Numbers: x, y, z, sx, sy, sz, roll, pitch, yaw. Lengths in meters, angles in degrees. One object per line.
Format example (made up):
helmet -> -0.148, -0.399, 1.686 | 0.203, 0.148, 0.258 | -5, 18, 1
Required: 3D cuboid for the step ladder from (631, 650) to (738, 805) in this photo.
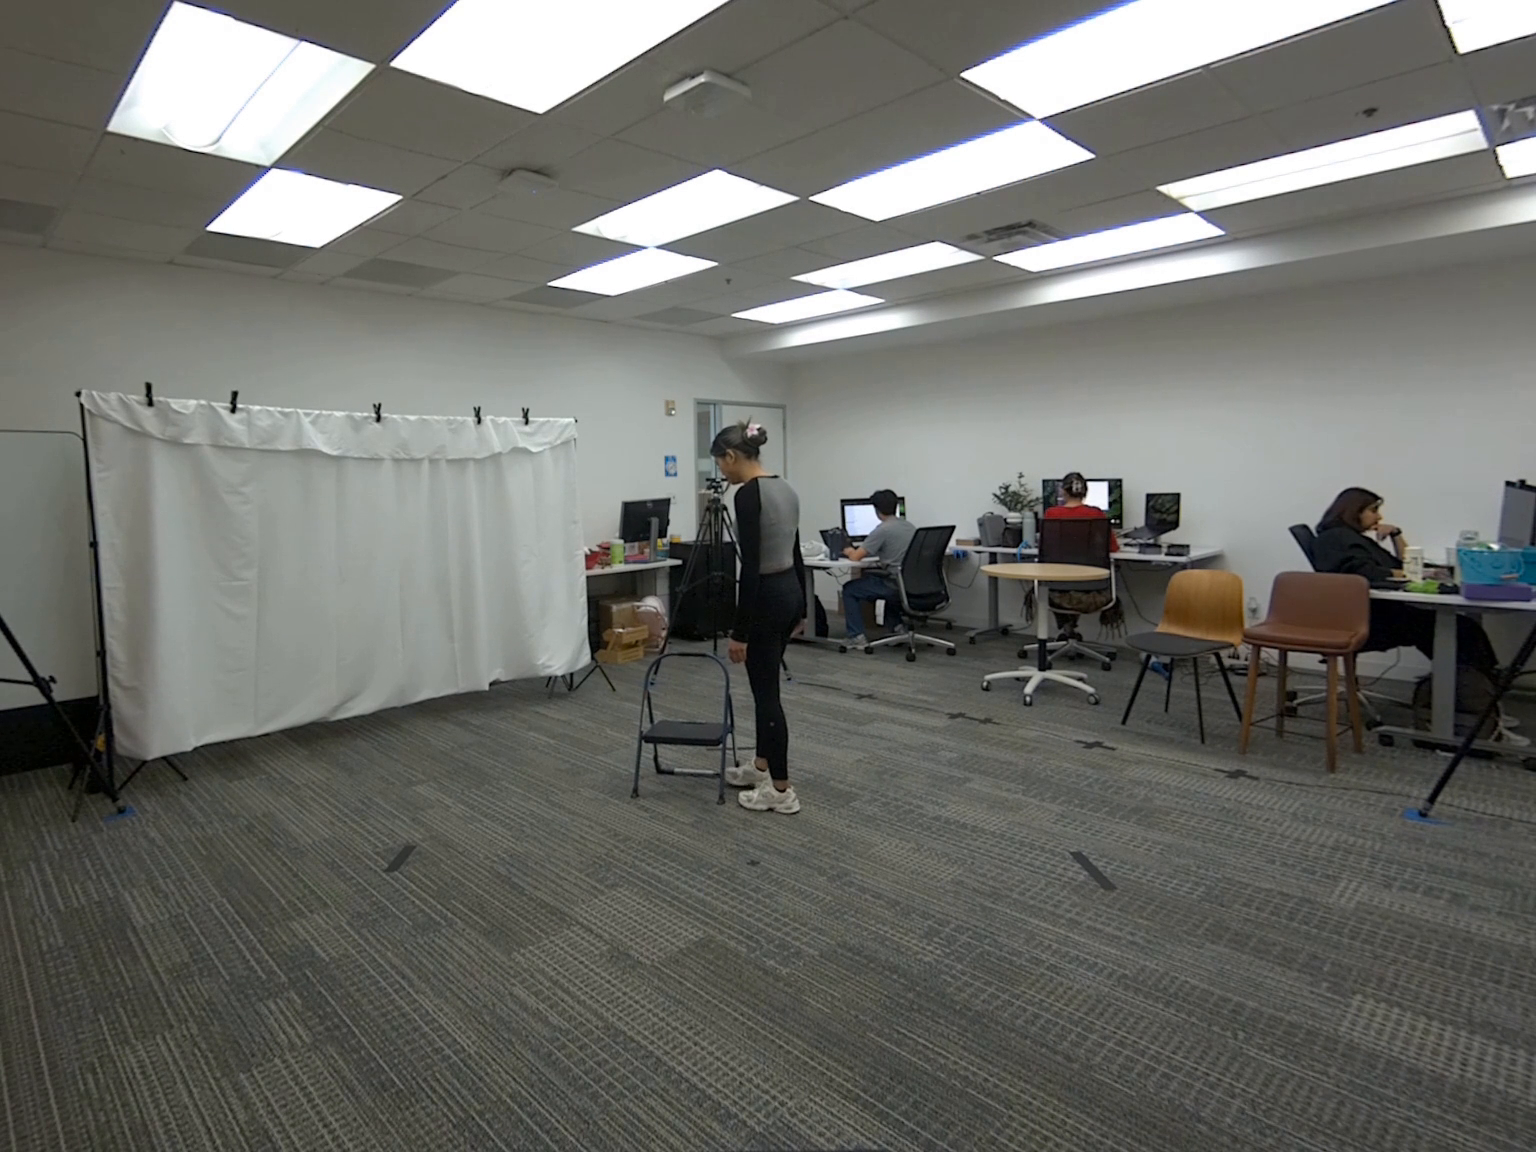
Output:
step ladder -> -0.378, 0.666, 3.877 | 0.436, 0.603, 0.346 | 0, 5, 13
